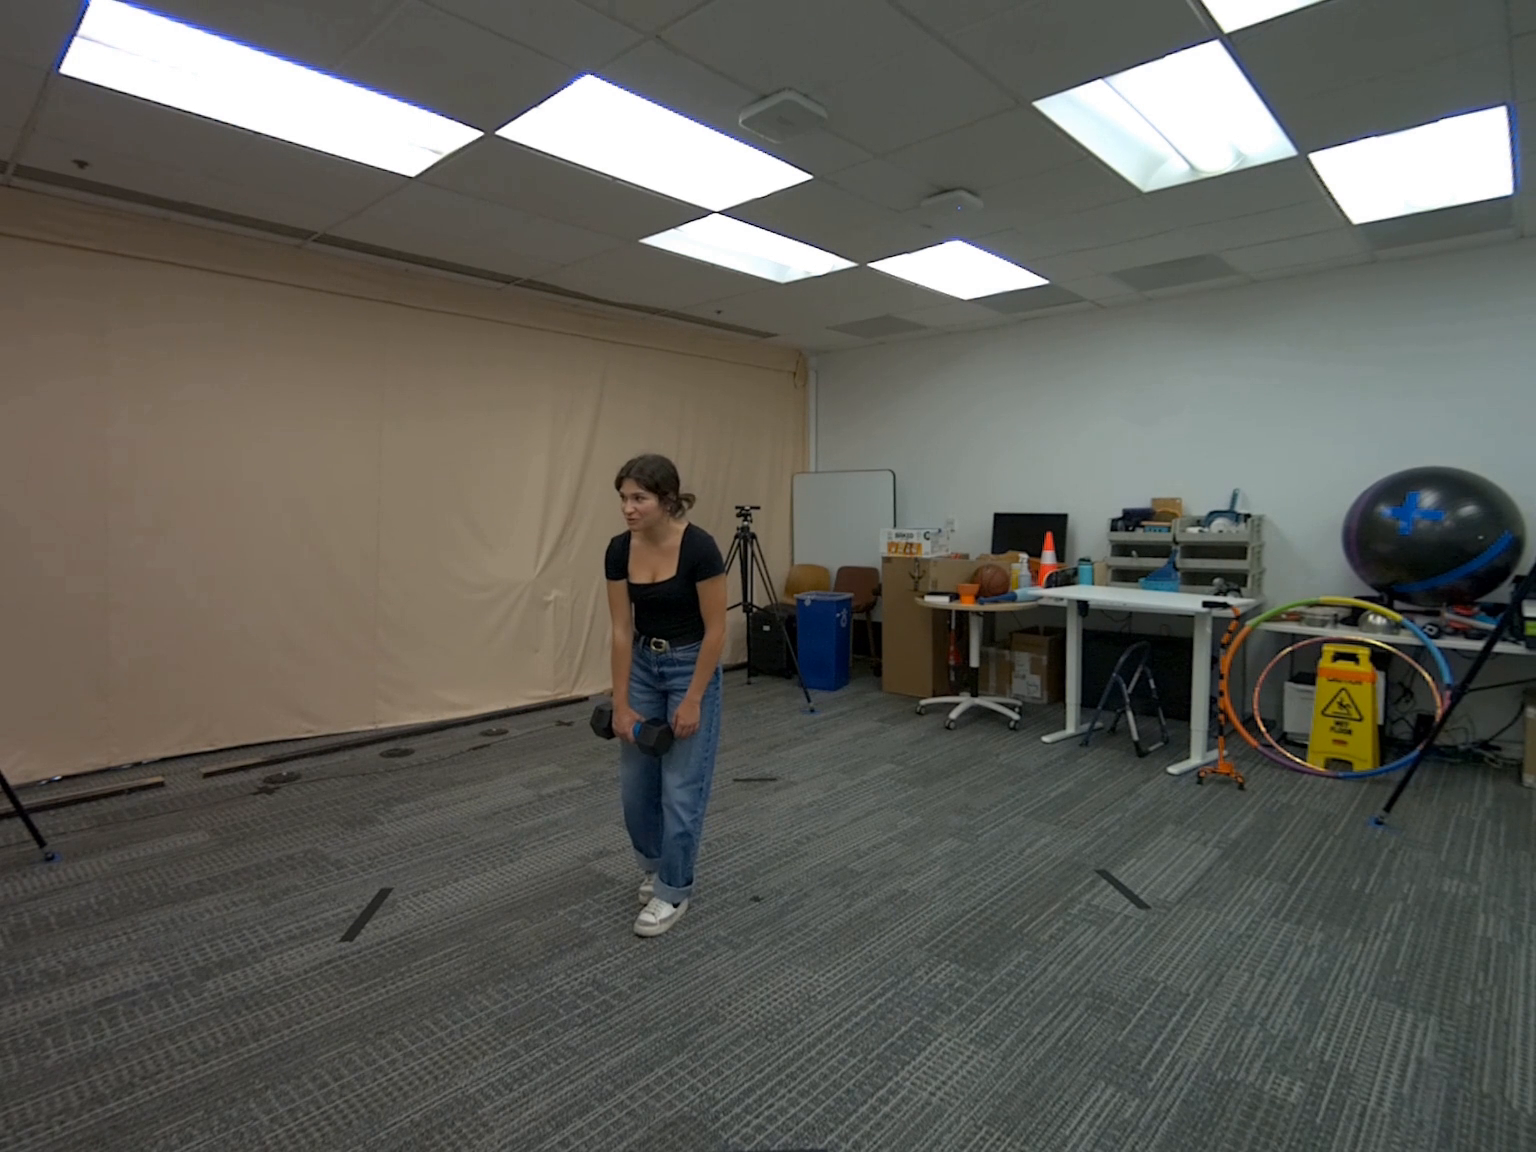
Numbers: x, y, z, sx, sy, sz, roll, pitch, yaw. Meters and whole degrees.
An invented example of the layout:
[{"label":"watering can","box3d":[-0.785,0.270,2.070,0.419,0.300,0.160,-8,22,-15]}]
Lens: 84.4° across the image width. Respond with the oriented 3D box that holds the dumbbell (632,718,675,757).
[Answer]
[{"label":"dumbbell","box3d":[-0.454,0.512,2.793,0.303,0.120,0.108,9,44,34]}]
